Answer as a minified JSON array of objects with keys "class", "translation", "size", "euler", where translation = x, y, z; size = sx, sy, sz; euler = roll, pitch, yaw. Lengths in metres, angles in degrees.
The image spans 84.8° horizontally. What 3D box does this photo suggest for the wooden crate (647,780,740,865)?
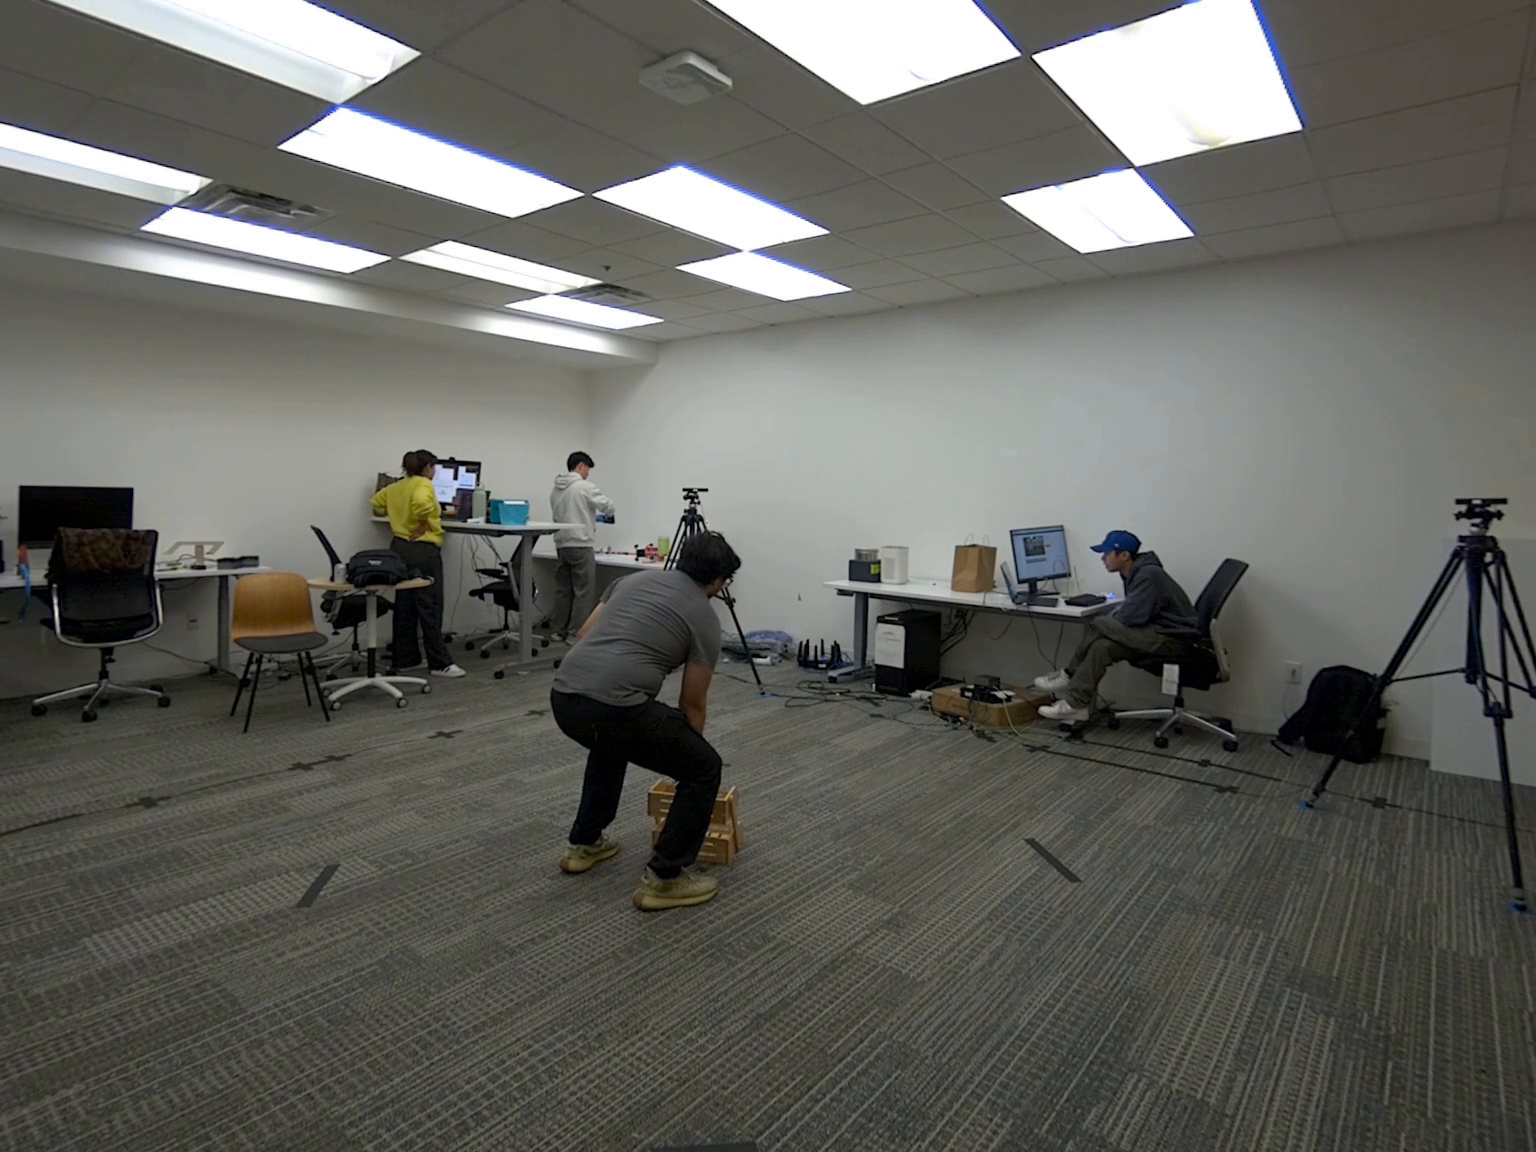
[{"class":"wooden crate","translation":[-0.284,0.914,3.280],"size":[0.329,0.272,0.299],"euler":[1,5,13]}]
